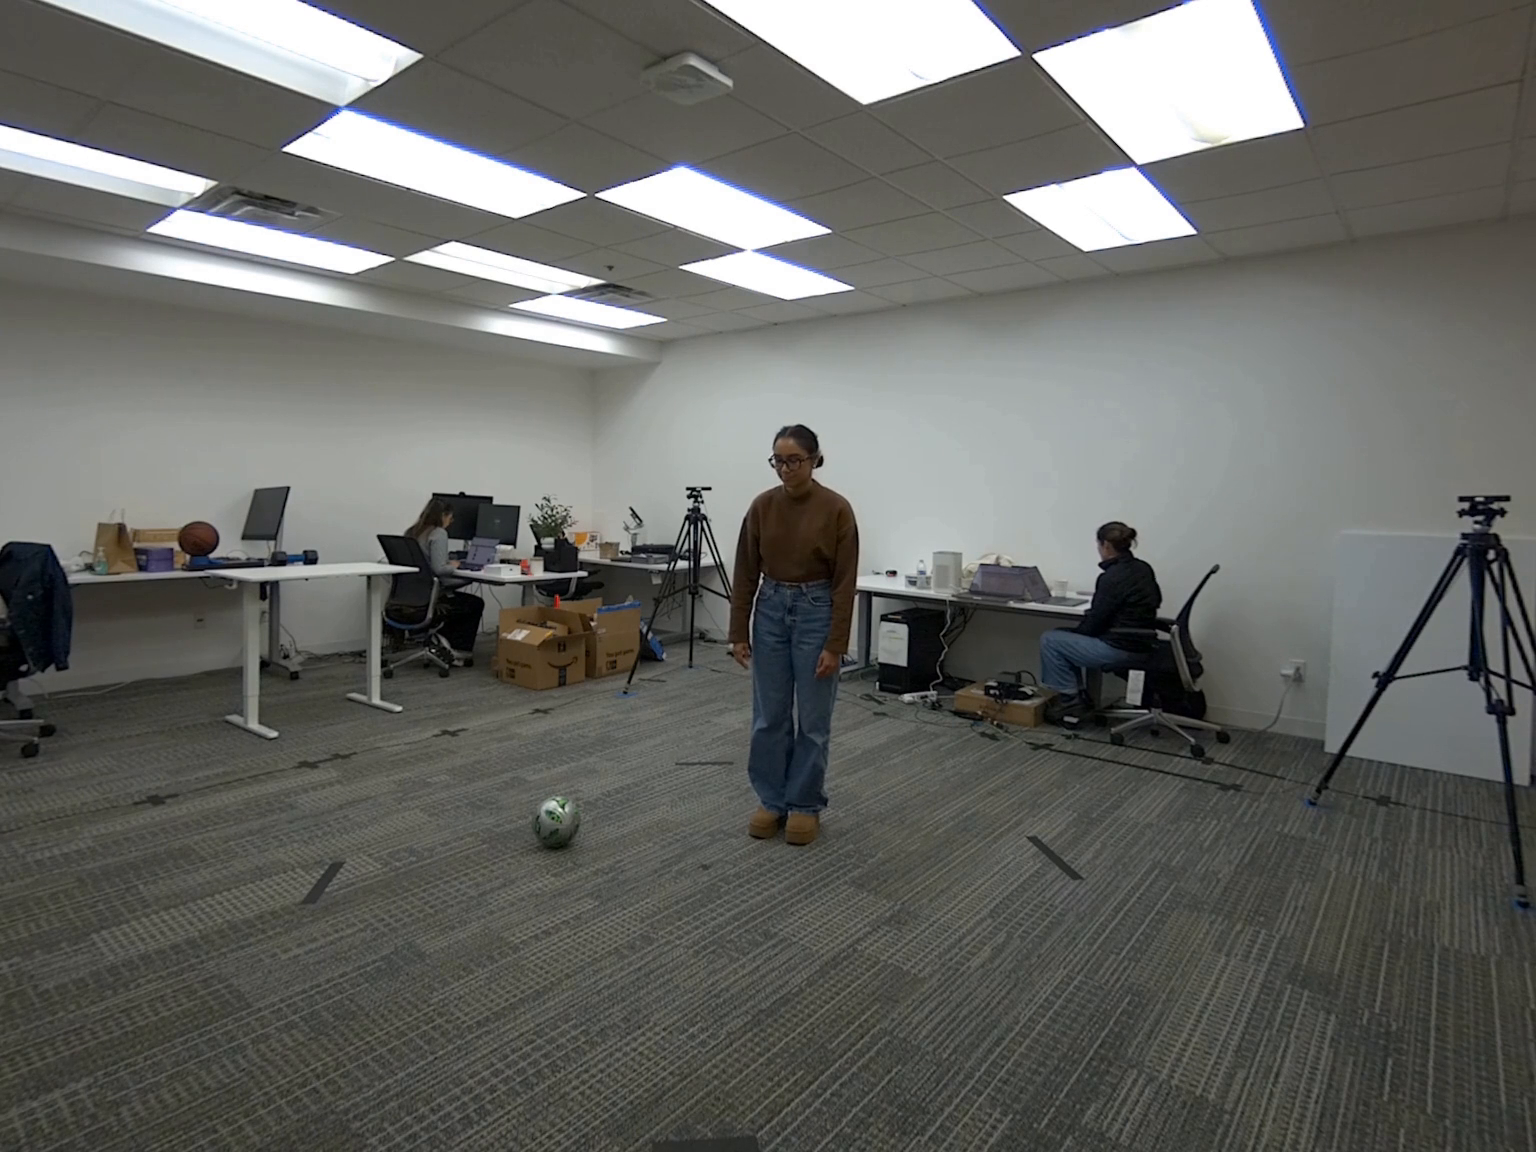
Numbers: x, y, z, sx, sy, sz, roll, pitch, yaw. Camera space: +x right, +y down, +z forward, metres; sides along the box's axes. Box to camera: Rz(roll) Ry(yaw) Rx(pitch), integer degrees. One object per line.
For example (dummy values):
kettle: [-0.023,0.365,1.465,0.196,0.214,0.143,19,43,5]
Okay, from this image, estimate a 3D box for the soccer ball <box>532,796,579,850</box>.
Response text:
soccer ball: [-0.833,0.946,3.285,0.187,0.187,0.188,1,4,-2]
